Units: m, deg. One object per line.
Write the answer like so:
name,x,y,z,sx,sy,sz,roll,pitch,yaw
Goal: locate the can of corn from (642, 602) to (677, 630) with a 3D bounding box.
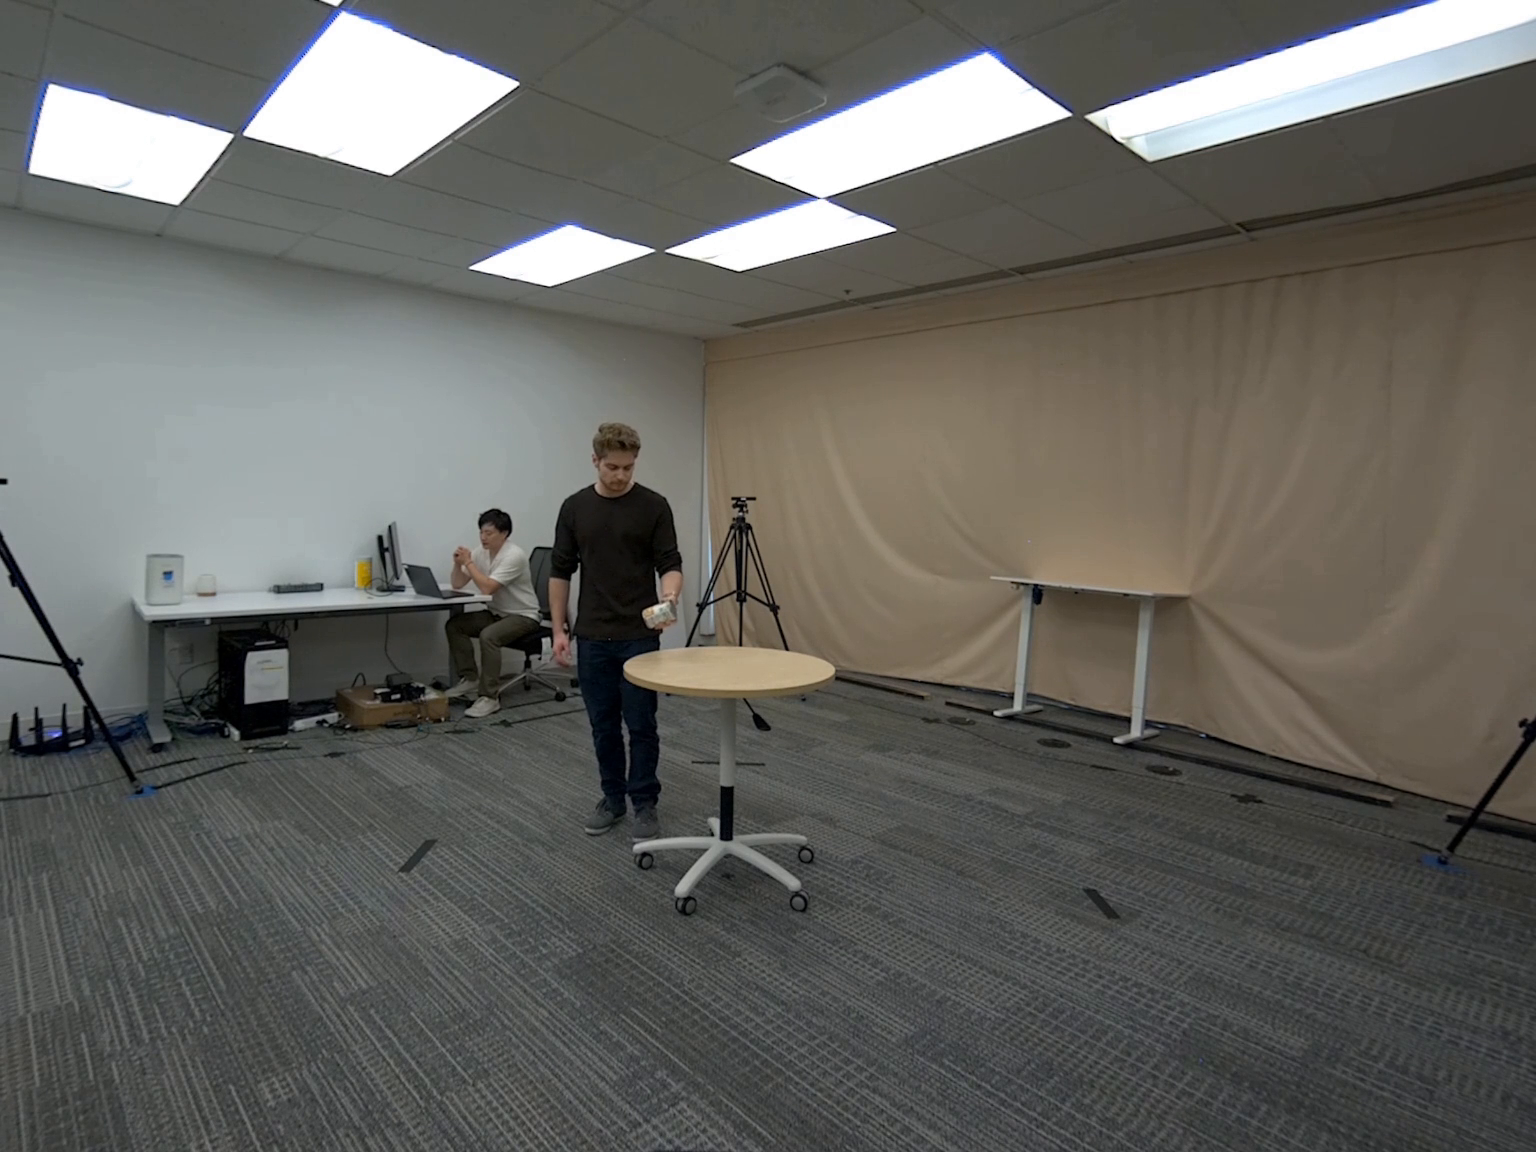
can of corn,-0.412,0.144,3.144,0.111,0.074,0.074,-13,2,8
